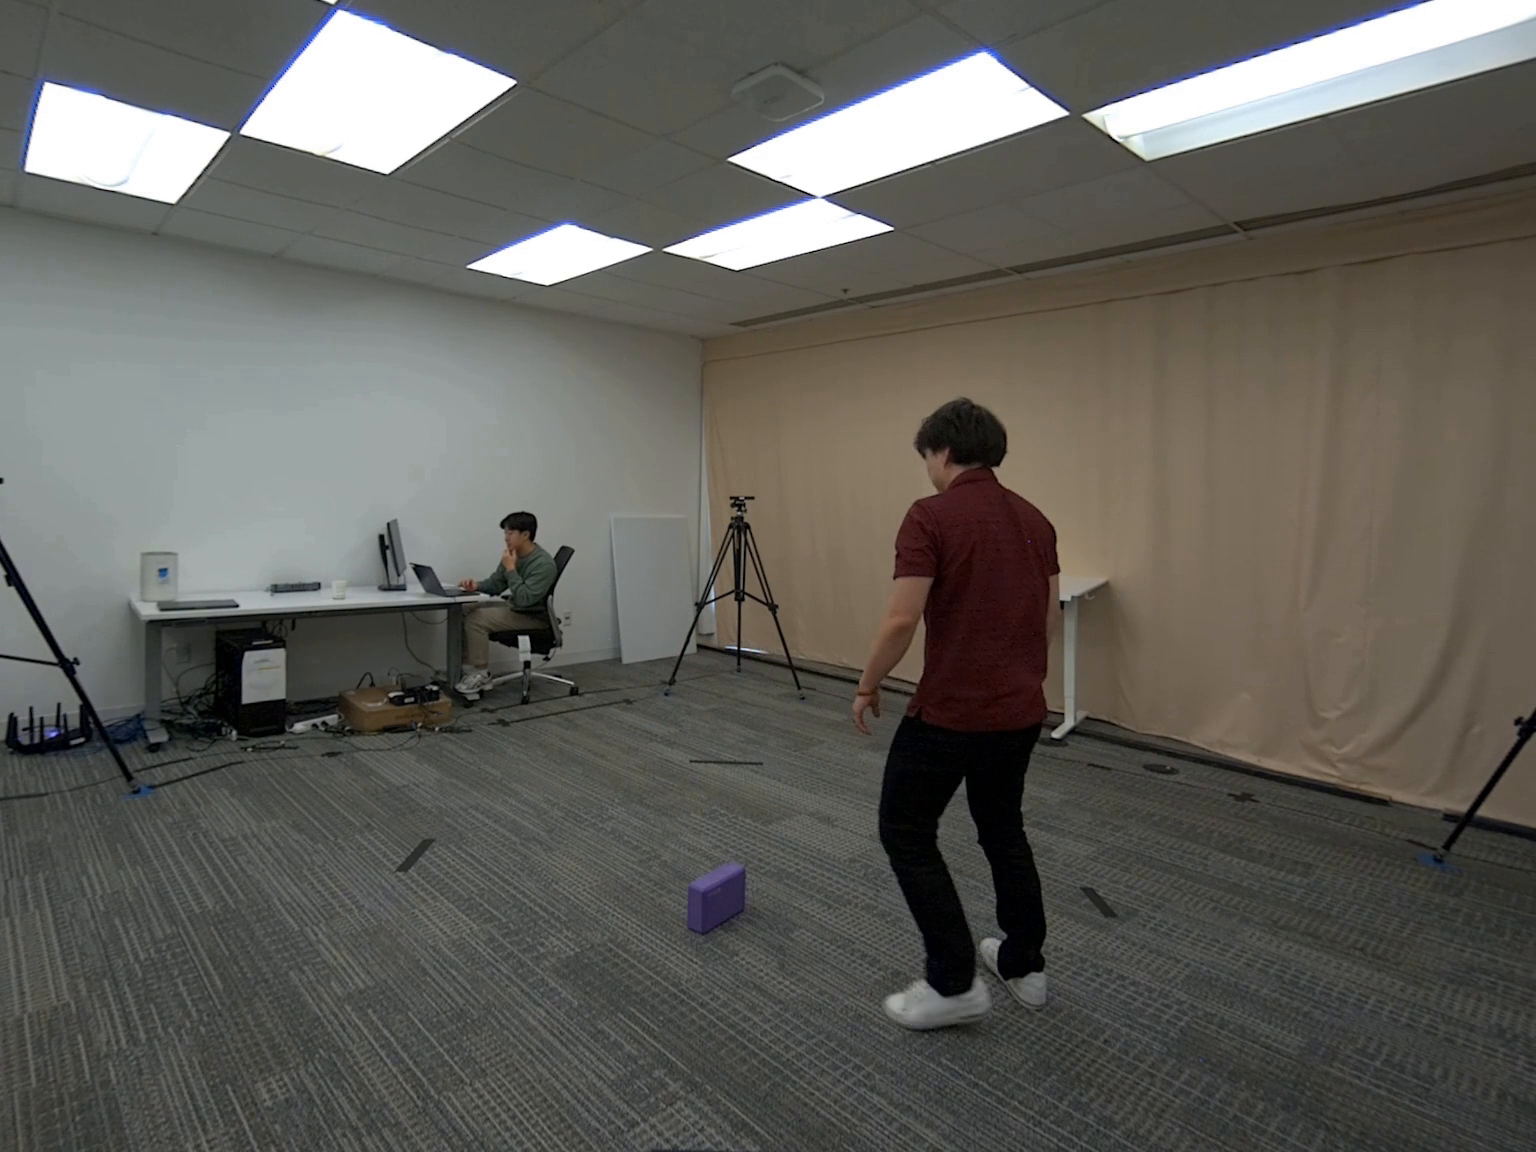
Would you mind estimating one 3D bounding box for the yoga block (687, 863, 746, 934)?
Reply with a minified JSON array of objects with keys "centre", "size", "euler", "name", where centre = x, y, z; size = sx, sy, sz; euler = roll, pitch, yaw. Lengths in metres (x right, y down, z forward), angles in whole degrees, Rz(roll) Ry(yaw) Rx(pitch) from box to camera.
[{"centre":[-0.173,1.058,2.771],"size":[0.078,0.148,0.224],"euler":[4,6,35],"name":"yoga block"}]
